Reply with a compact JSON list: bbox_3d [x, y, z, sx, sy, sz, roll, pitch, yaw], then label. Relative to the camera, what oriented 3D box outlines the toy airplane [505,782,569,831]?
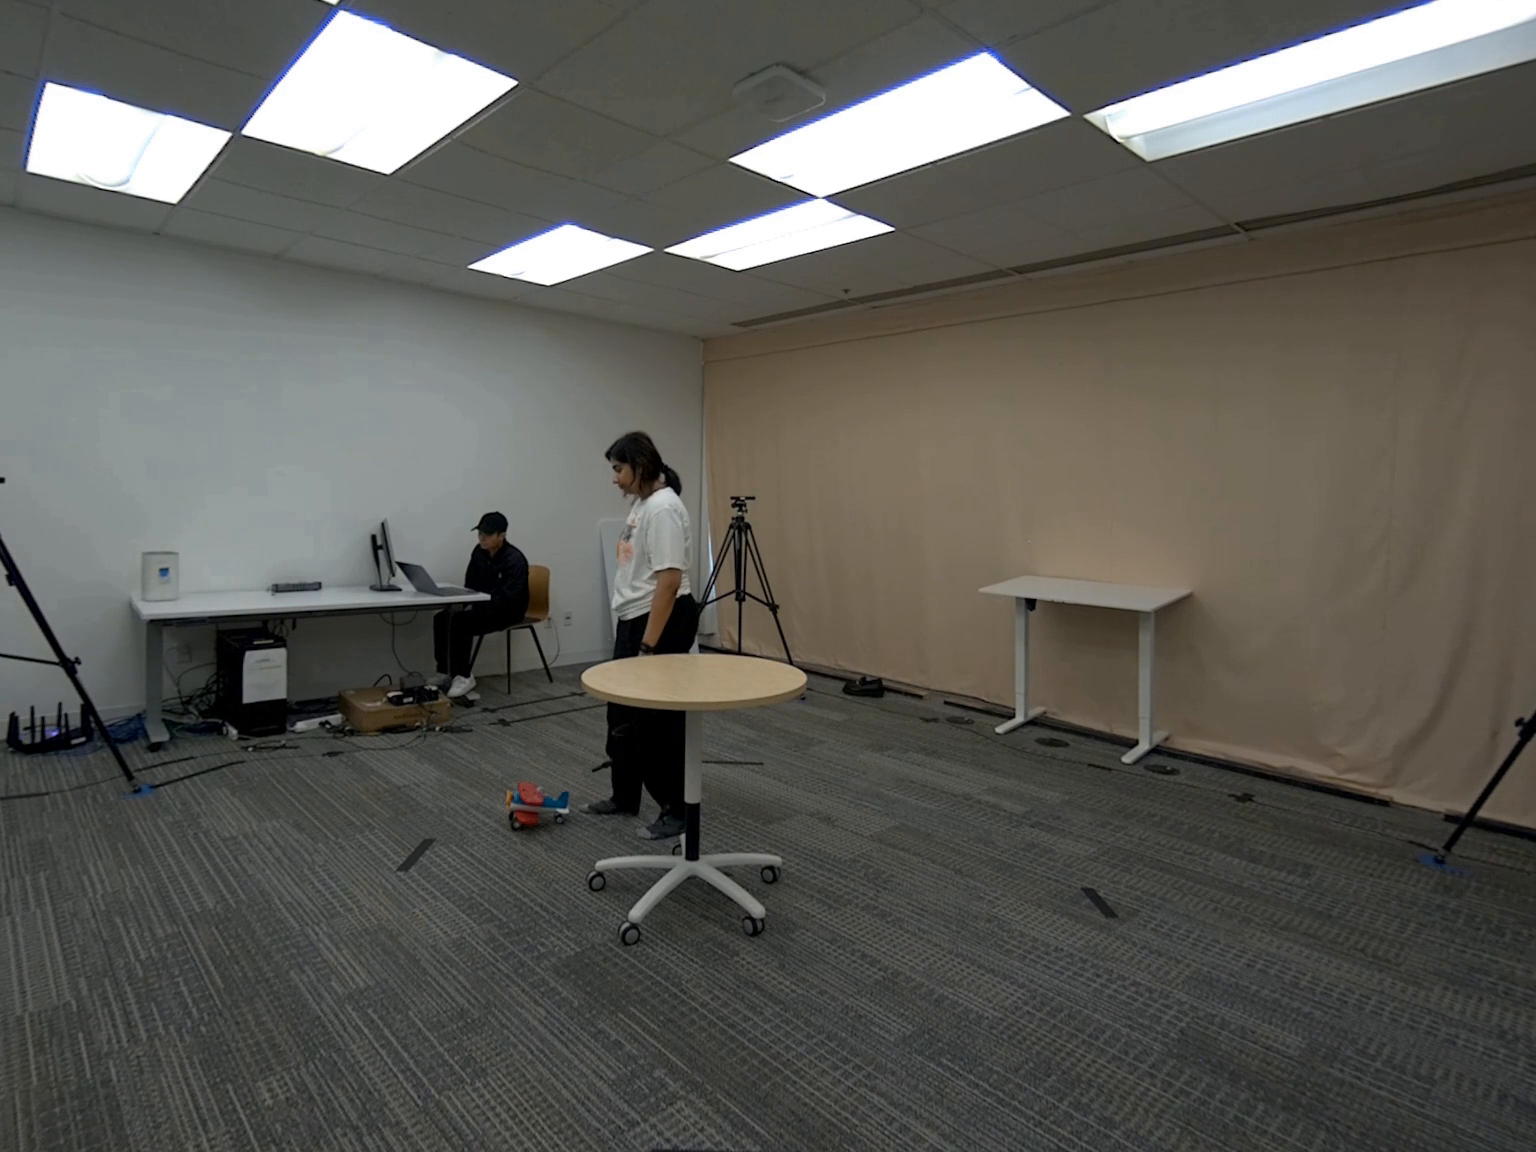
[{"bbox_3d":[-0.995,0.972,3.558,0.257,0.156,0.253,4,6,41],"label":"toy airplane"}]
